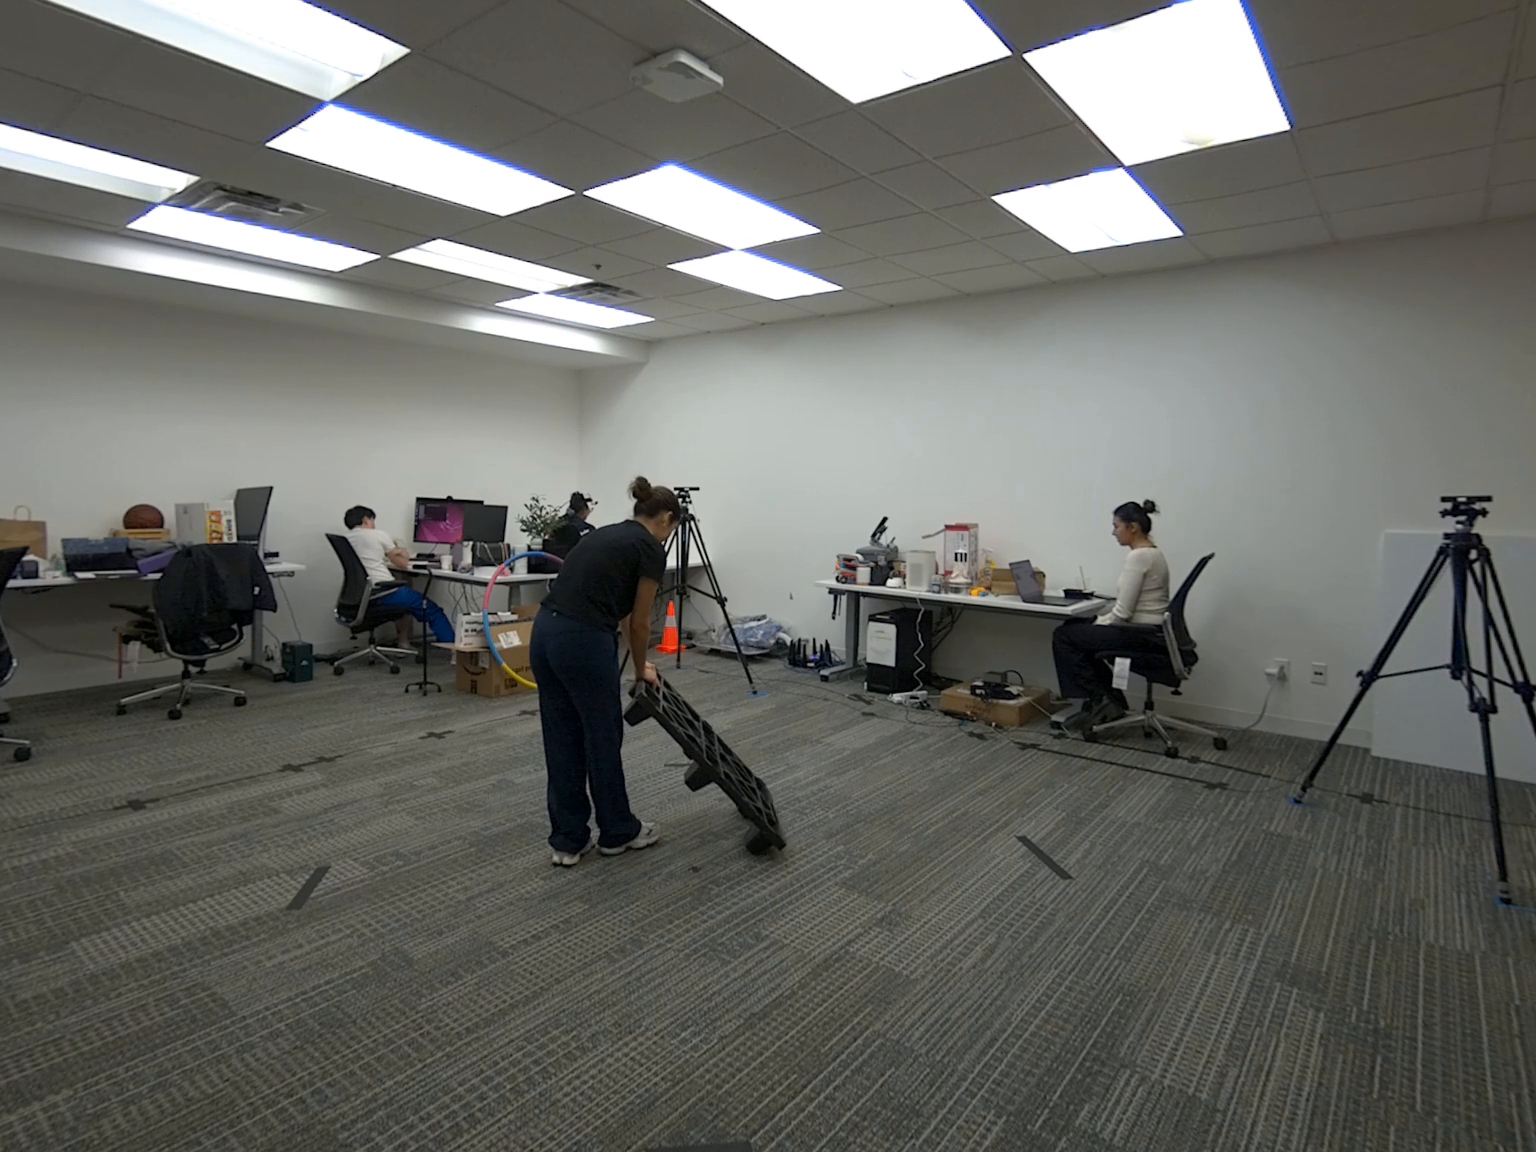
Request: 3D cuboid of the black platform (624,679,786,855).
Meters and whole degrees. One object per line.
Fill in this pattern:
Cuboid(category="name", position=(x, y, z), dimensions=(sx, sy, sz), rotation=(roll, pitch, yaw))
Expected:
Cuboid(category="black platform", position=(-0.254, 0.722, 3.440), dimensions=(0.143, 0.801, 0.609), rotation=(-42, 5, 0))
